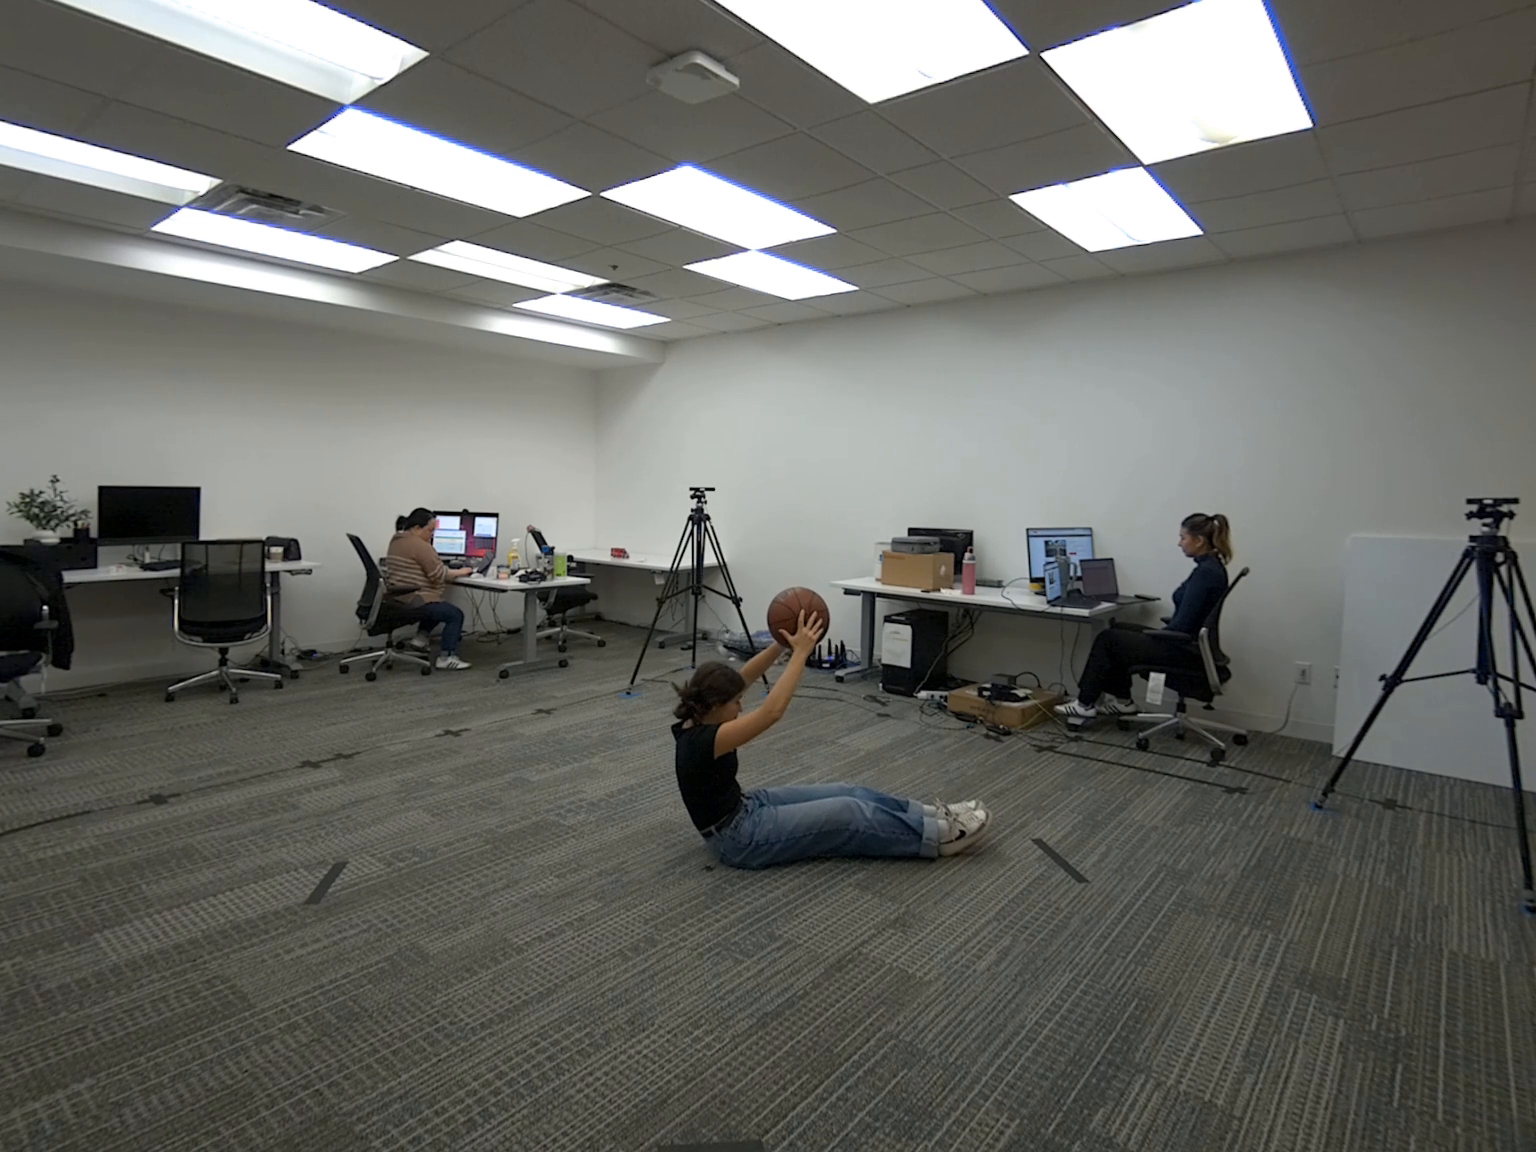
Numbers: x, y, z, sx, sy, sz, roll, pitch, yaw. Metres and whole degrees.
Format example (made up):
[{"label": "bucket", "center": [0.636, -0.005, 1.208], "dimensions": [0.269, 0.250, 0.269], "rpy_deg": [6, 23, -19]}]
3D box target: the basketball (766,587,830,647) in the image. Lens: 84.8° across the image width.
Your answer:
[{"label": "basketball", "center": [0.102, 0.160, 3.221], "dimensions": [0.235, 0.235, 0.237], "rpy_deg": [1, 4, -2]}]
